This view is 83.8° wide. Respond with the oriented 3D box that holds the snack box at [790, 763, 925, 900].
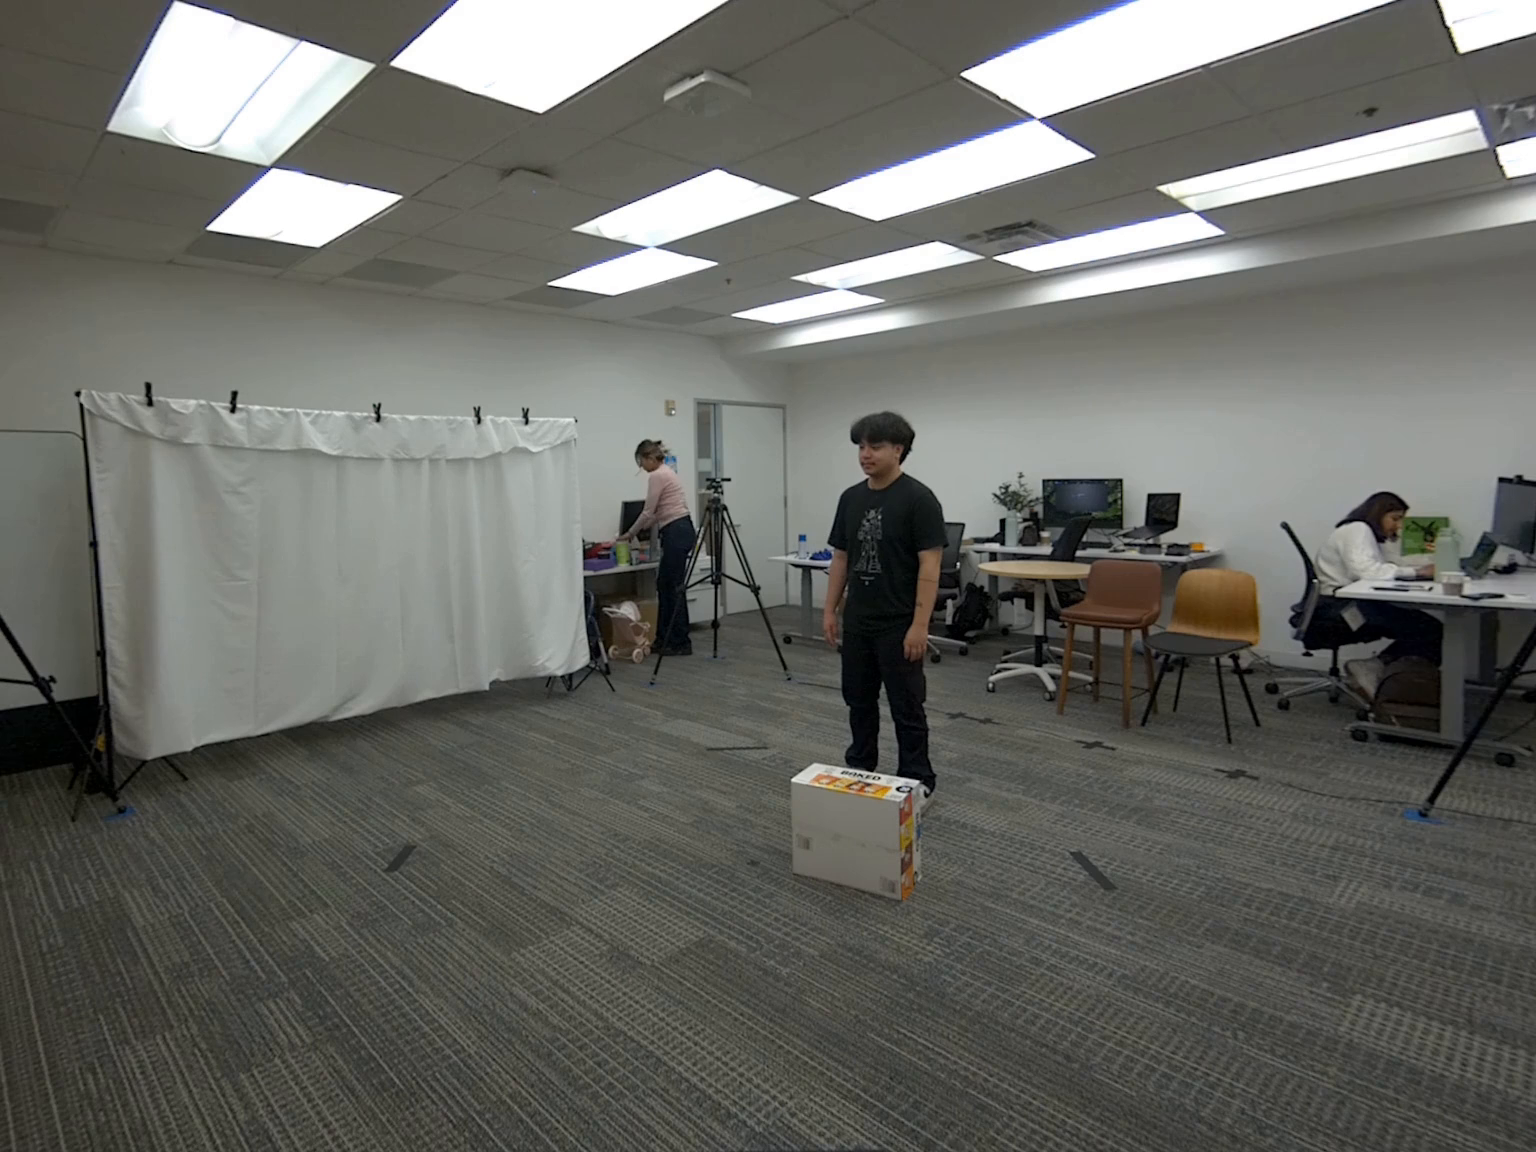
[{"bbox_3d":[0.307,0.879,2.980,0.416,0.339,0.201,2,5,31],"label":"snack box"}]
